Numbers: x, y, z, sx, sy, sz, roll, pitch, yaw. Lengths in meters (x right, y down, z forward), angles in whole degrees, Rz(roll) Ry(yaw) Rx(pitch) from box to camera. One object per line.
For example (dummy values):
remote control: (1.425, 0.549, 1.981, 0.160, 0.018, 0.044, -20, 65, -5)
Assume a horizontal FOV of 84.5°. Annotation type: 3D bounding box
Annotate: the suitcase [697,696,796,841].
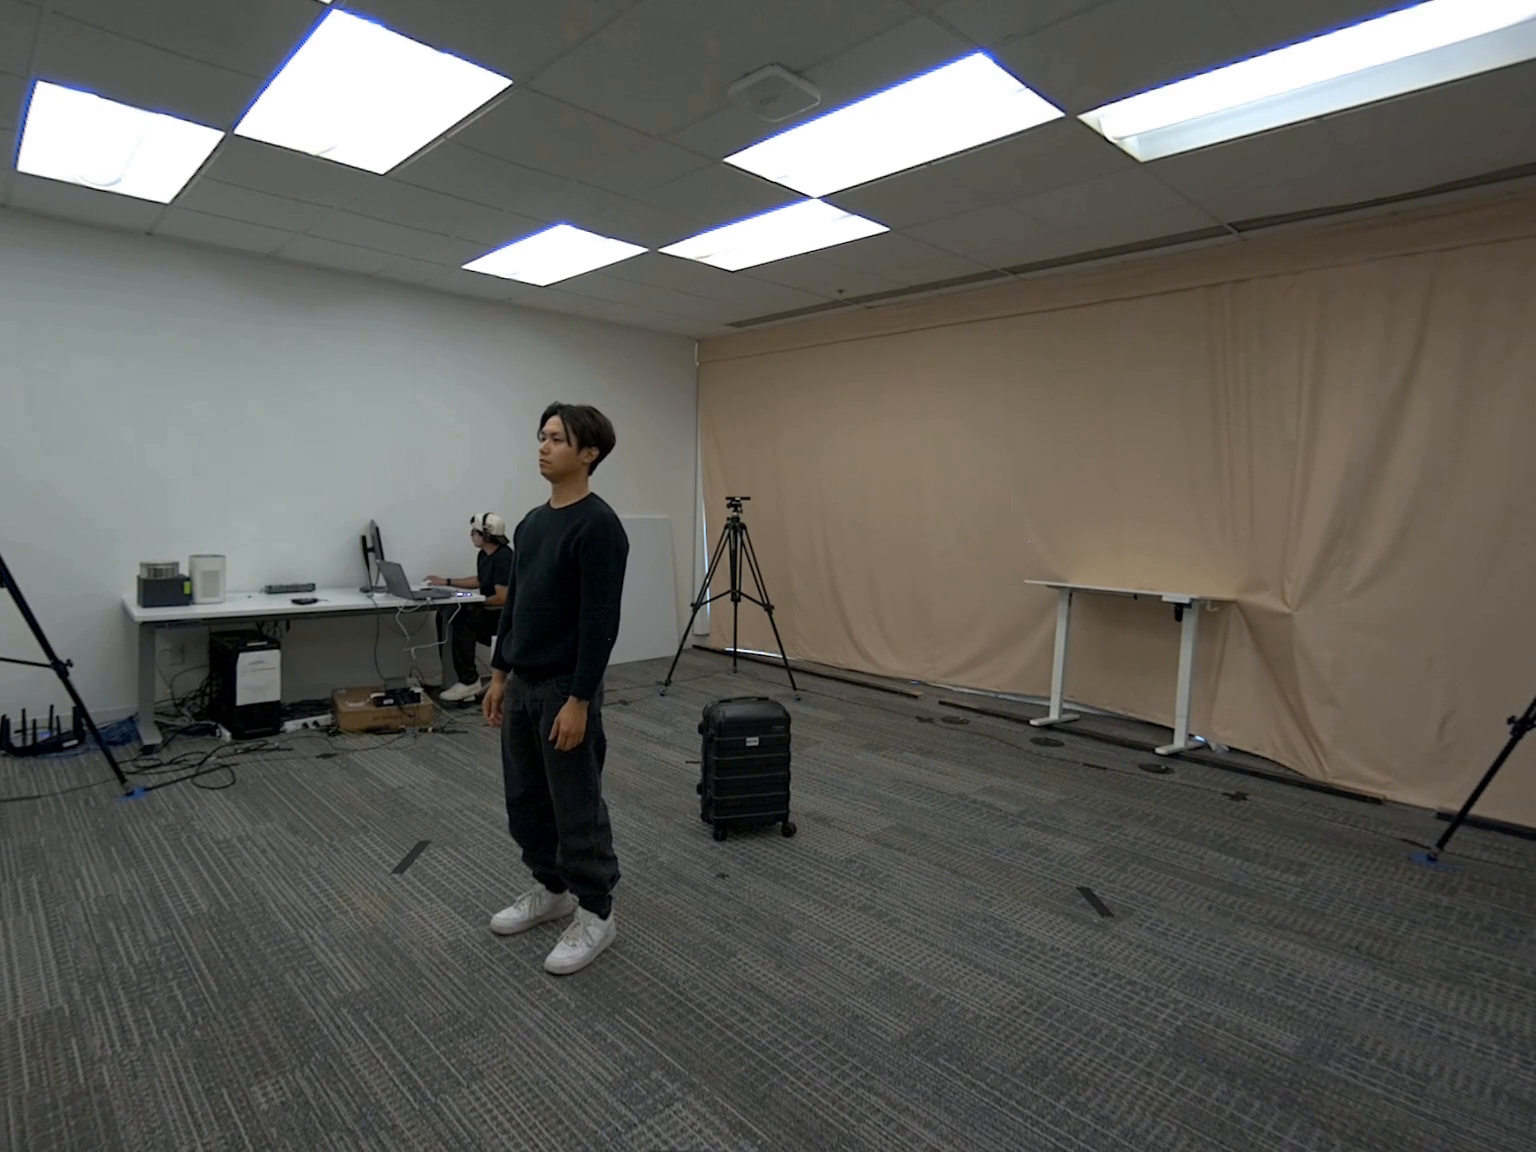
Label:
suitcase: (-0.099, 0.792, 3.541, 0.370, 0.548, 0.252, 0, 4, -18)
